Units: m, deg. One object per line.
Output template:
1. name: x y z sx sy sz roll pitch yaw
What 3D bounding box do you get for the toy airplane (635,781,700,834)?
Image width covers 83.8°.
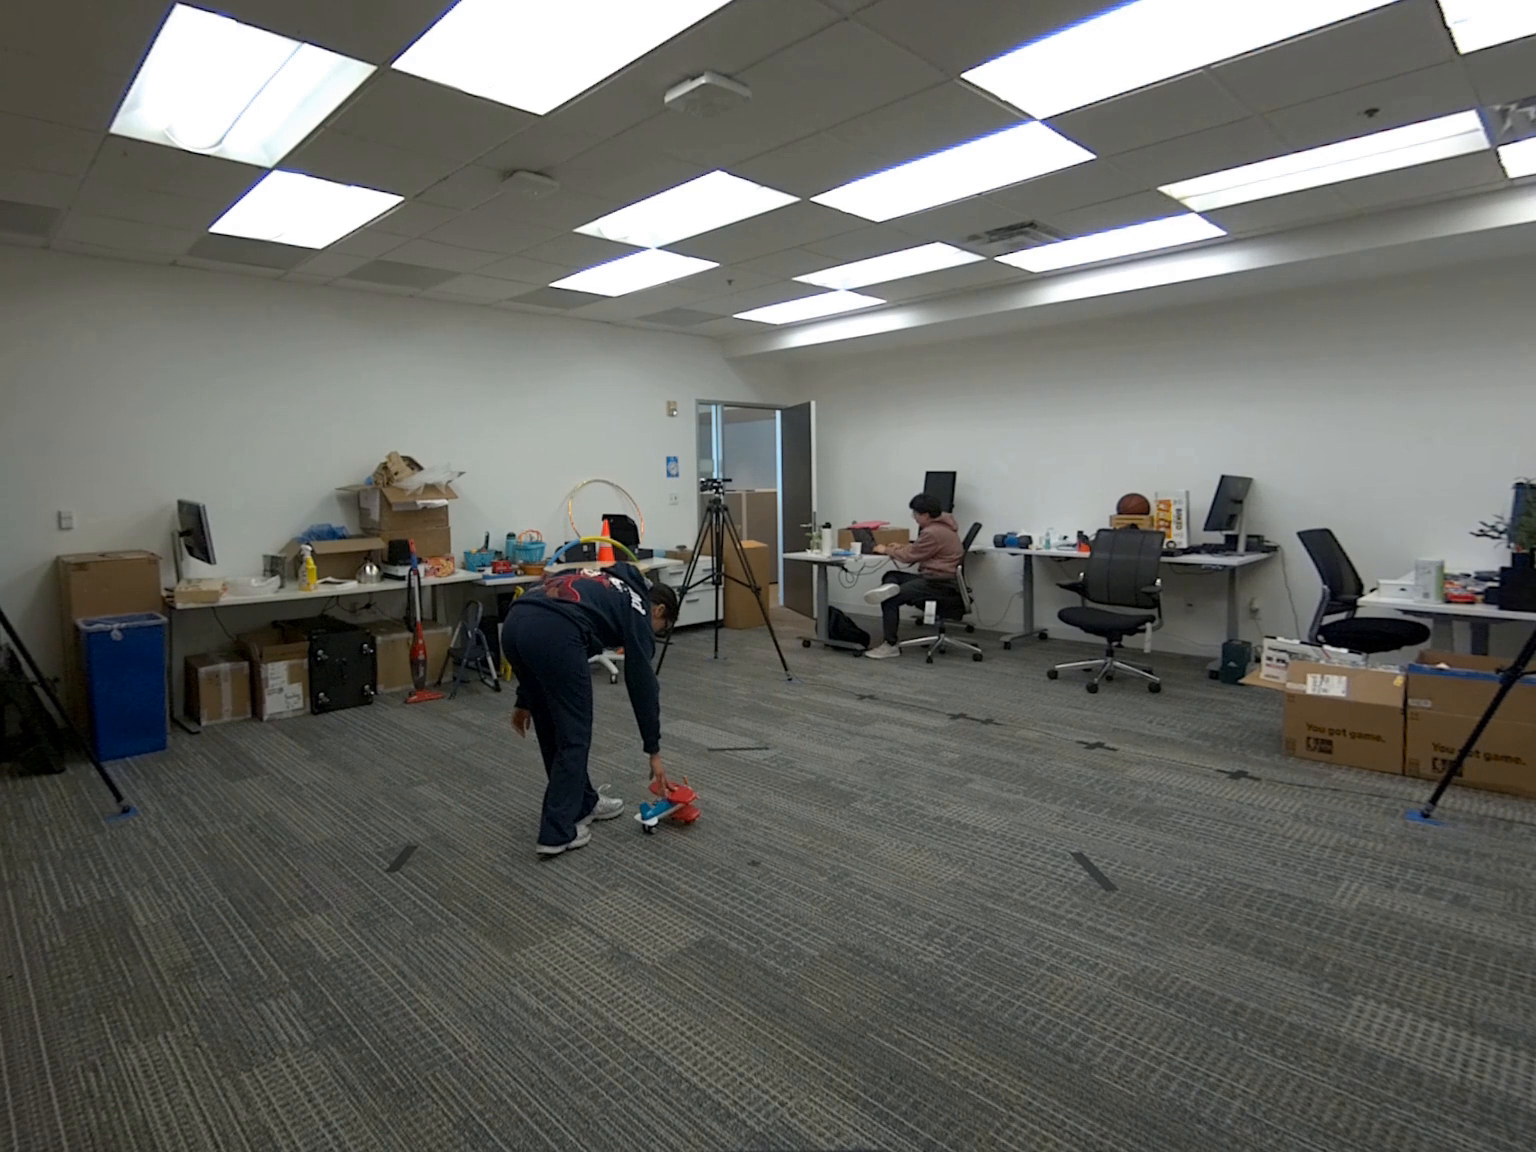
1. toy airplane: -0.395 0.936 3.438 0.255 0.156 0.255 1 4 16
